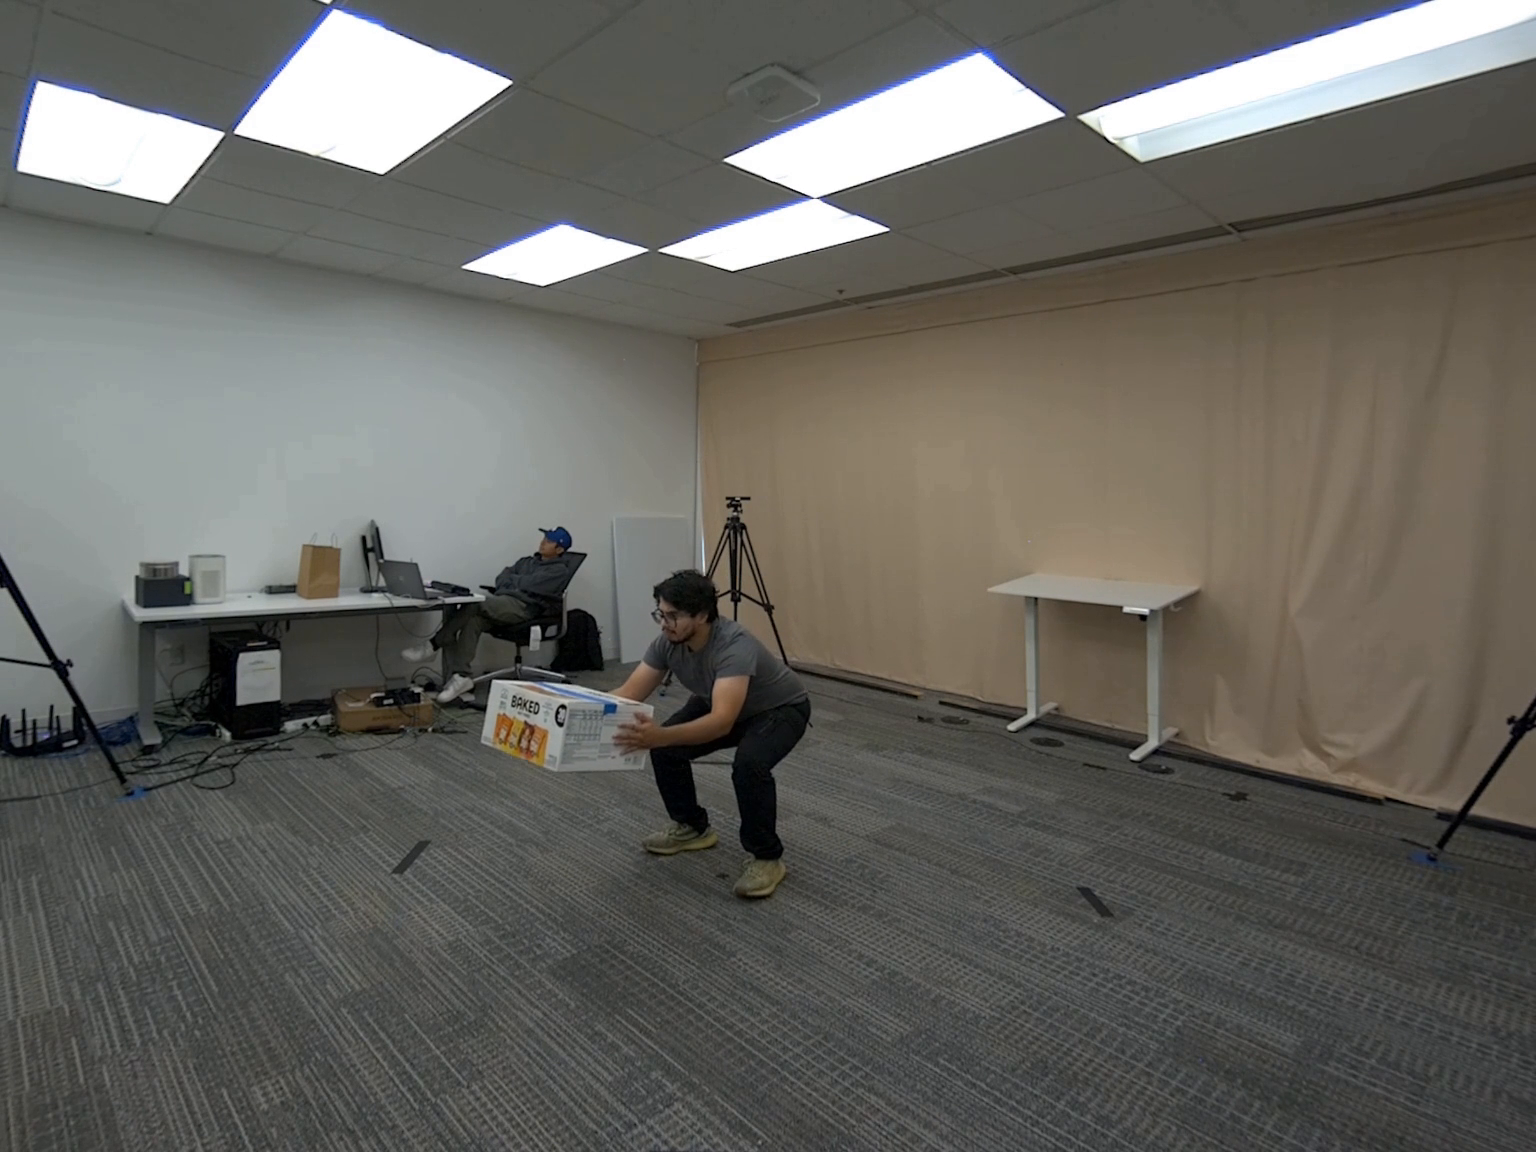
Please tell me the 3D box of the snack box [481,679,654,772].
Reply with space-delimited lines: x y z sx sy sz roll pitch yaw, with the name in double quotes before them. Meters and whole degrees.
"snack box" -0.640 0.469 2.658 0.415 0.206 0.331 5 -5 41
